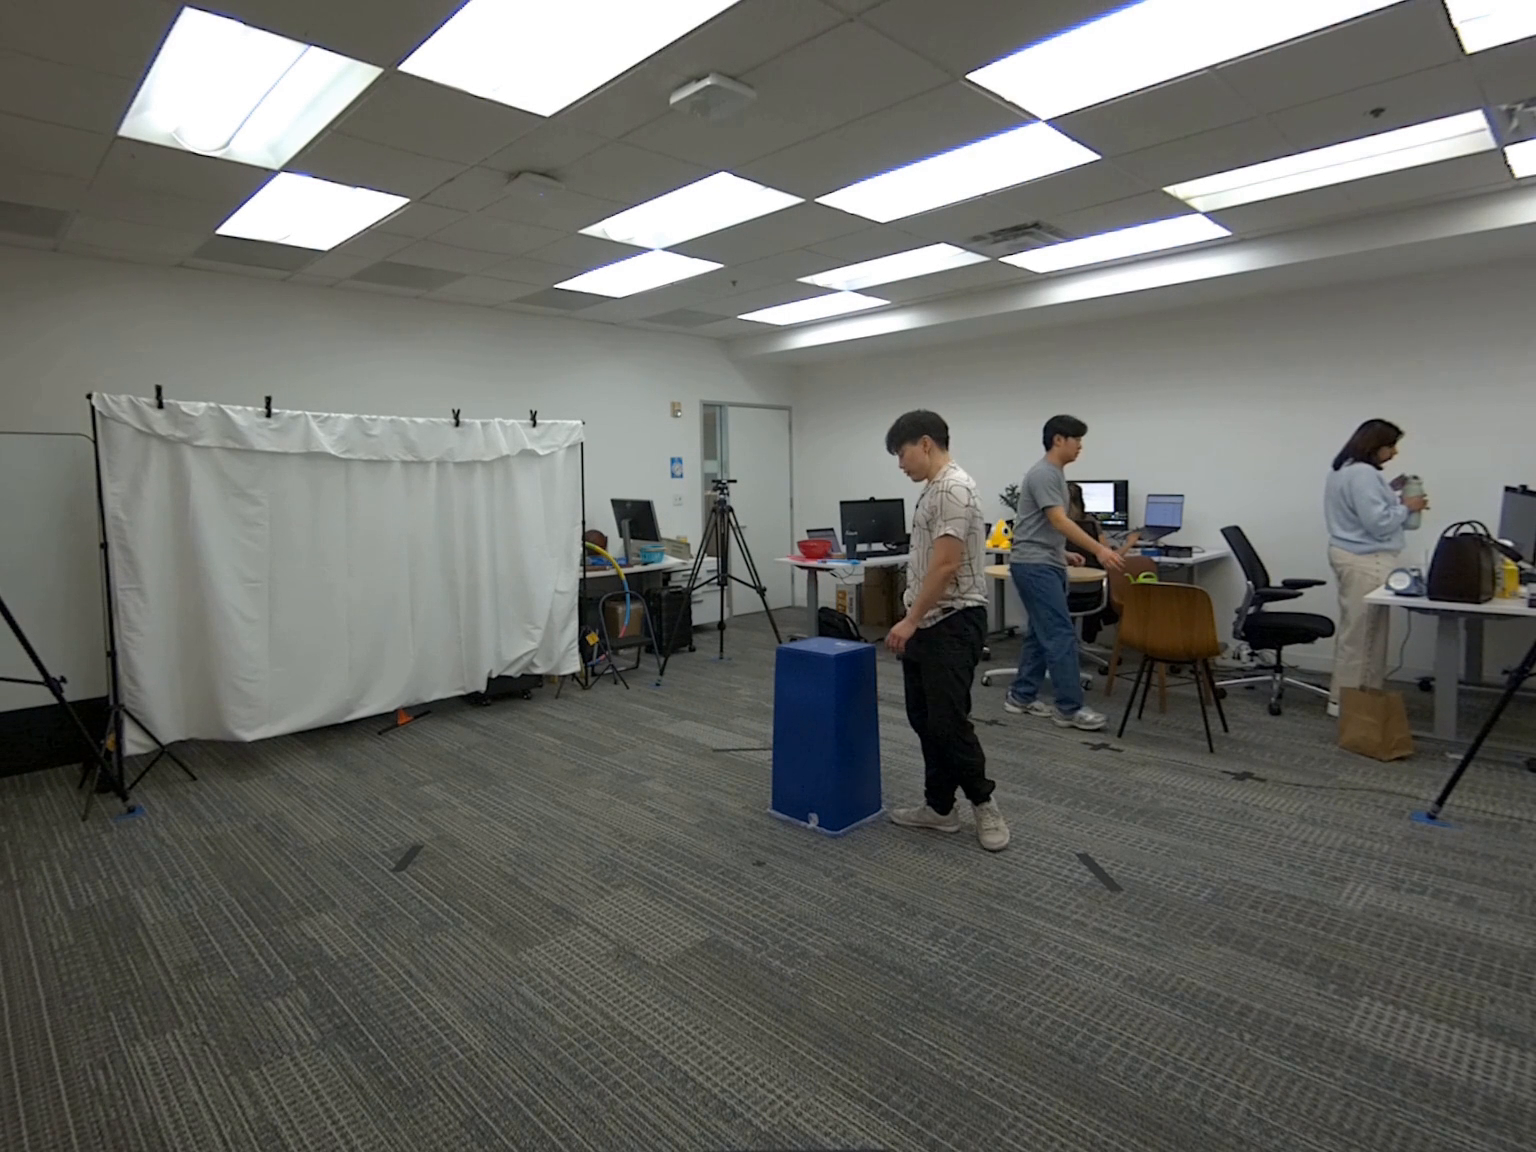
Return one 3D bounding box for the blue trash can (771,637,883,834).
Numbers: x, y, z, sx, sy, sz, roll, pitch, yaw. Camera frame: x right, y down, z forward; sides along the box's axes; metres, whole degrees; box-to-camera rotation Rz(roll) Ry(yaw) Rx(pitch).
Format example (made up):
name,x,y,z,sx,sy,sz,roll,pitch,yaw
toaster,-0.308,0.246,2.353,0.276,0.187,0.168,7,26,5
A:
name,x,y,z,sx,sy,sz,roll,pitch,yaw
blue trash can,0.253,0.639,3.551,0.390,0.711,0.364,3,5,43
